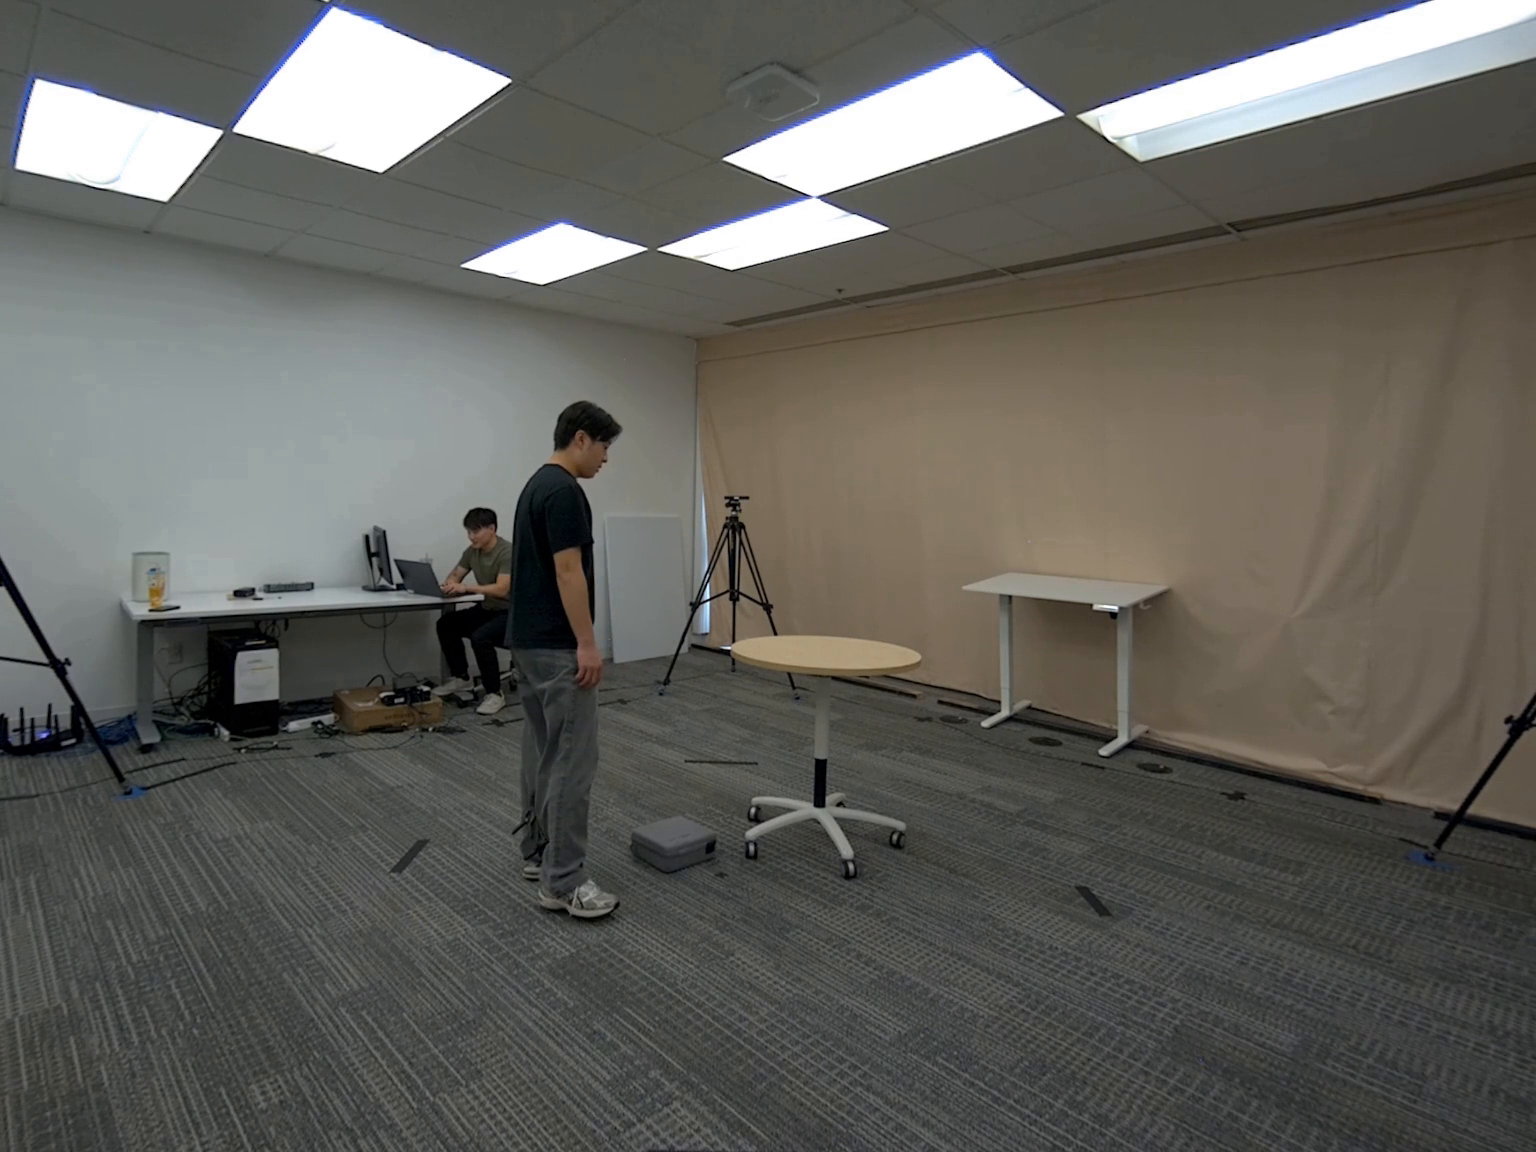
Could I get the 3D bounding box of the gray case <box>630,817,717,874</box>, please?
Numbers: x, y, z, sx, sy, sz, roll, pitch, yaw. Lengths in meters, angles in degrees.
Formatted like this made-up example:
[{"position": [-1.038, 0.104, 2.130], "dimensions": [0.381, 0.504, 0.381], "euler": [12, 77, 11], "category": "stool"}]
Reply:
[{"position": [-0.380, 1.030, 3.259], "dimensions": [0.257, 0.103, 0.294], "euler": [-2, 5, -42], "category": "gray case"}]
